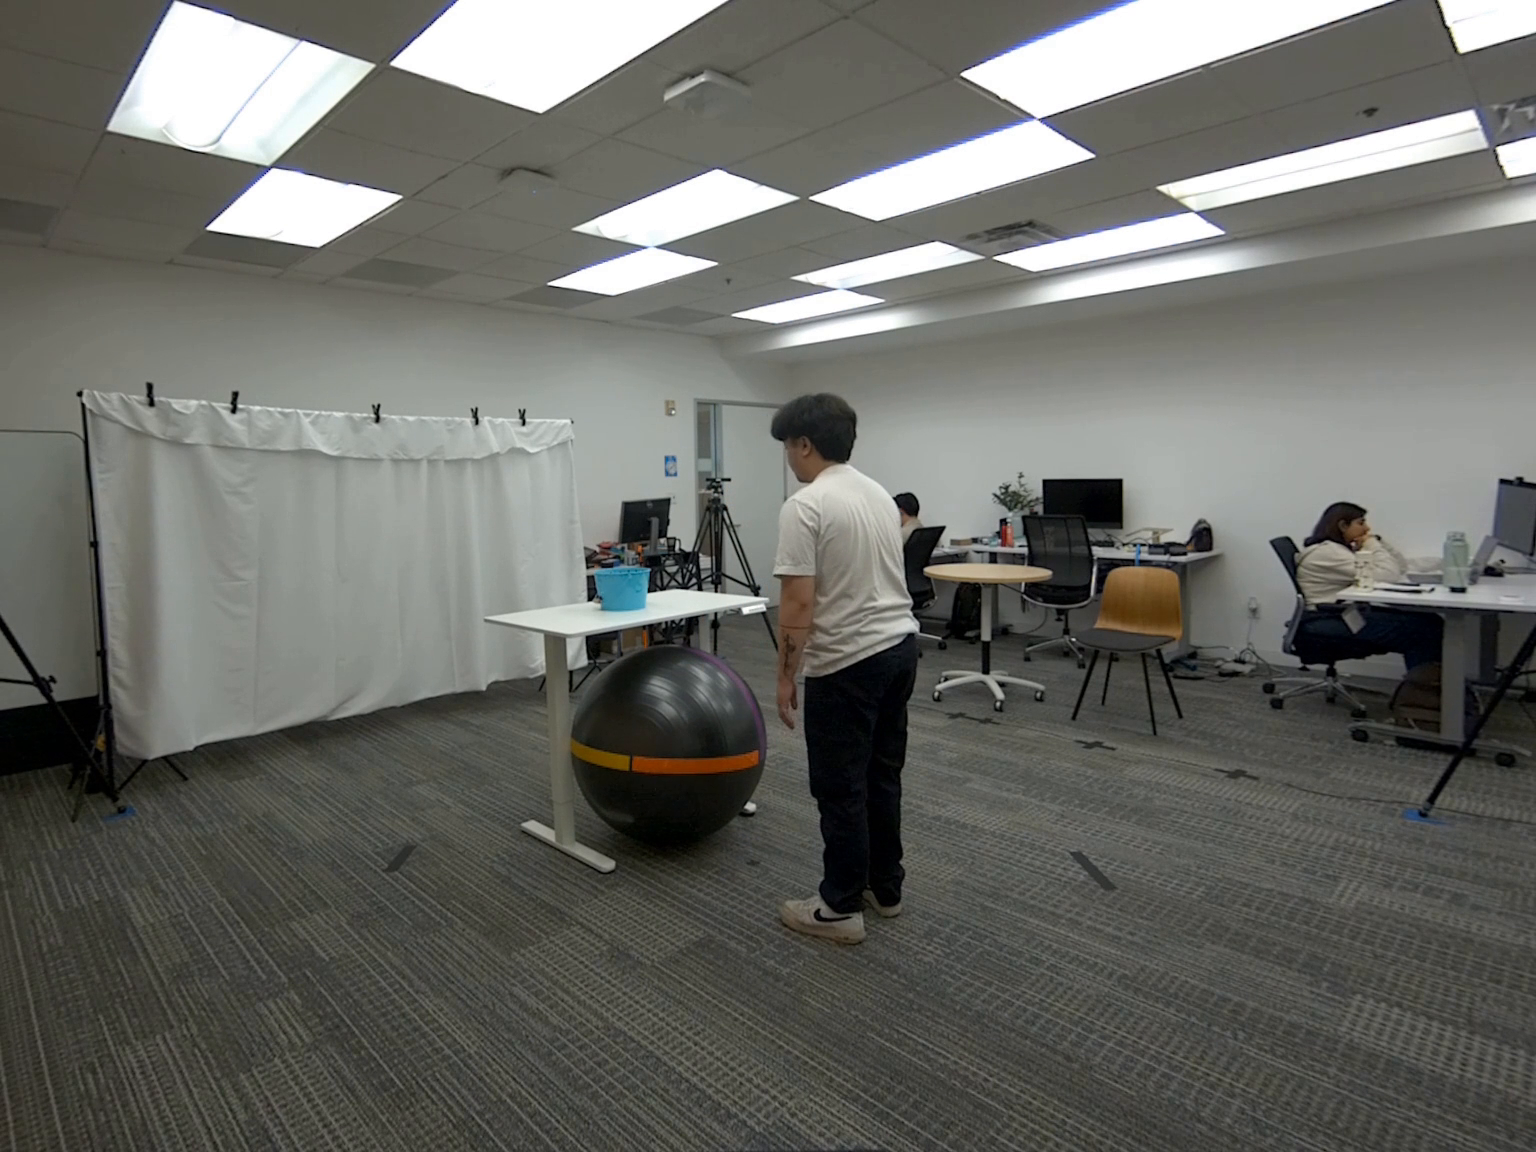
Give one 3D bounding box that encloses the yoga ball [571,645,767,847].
[{"bbox_3d":[-0.388,0.658,3.328,0.757,0.755,0.762,-1,5,-2],"label":"yoga ball"}]
